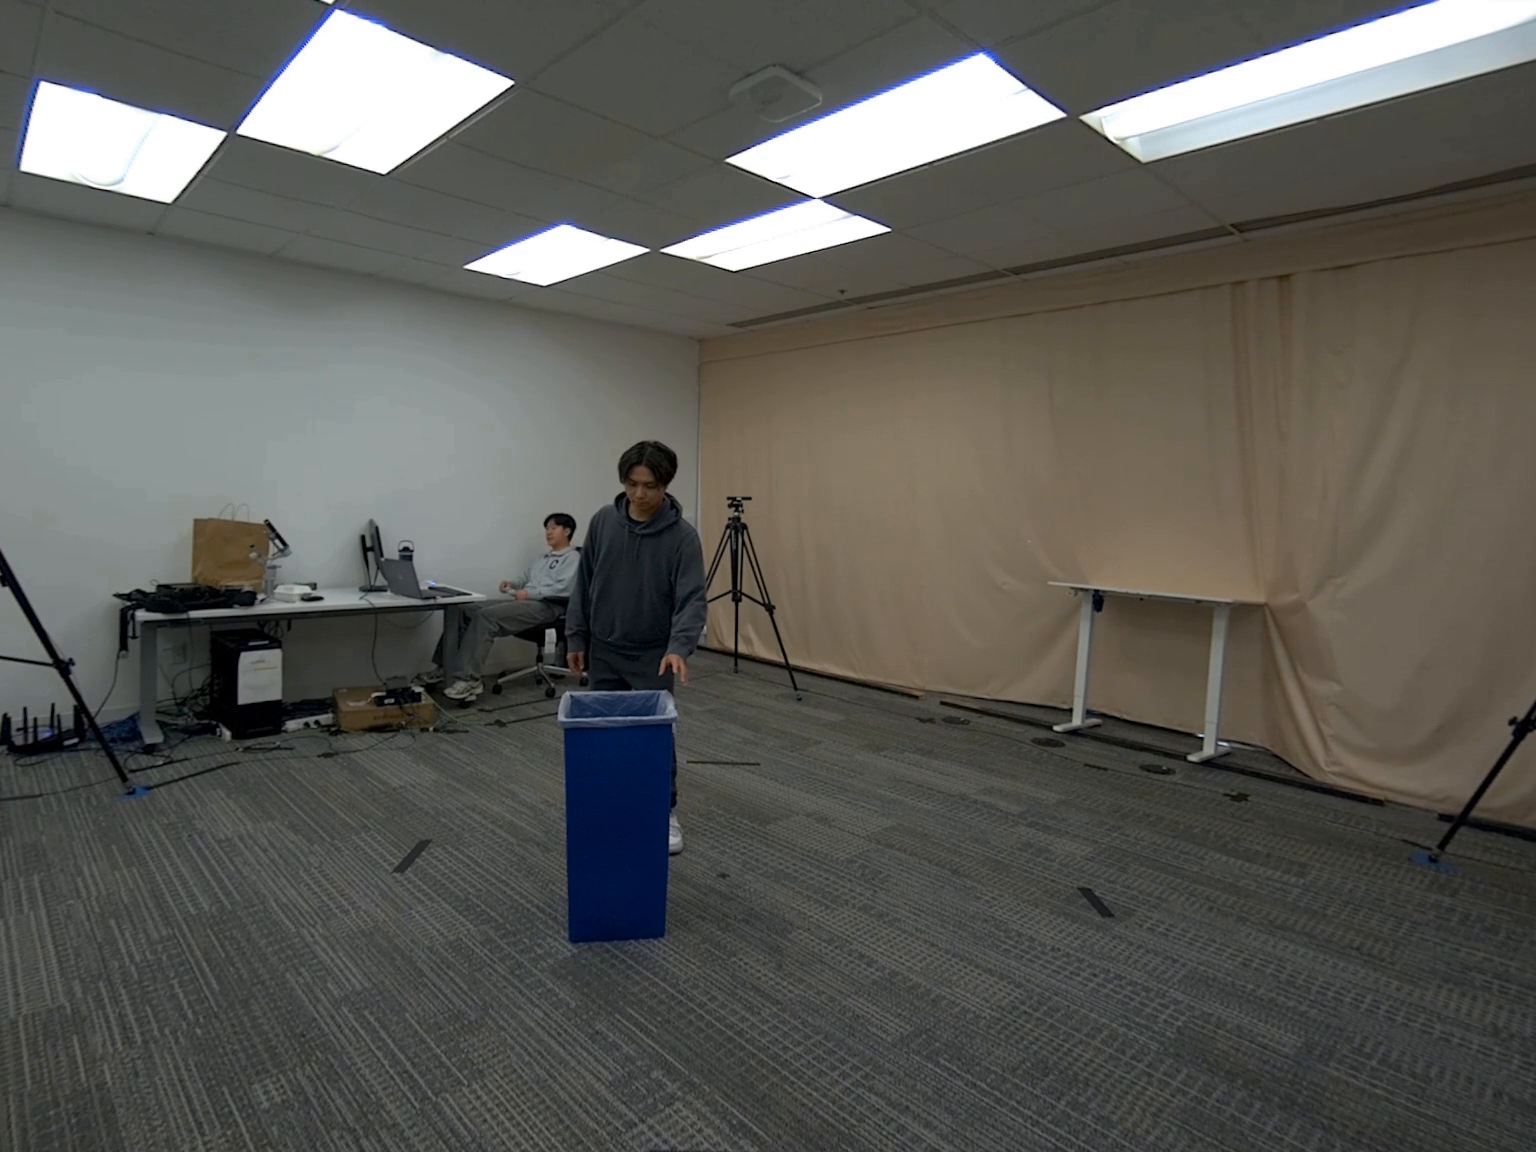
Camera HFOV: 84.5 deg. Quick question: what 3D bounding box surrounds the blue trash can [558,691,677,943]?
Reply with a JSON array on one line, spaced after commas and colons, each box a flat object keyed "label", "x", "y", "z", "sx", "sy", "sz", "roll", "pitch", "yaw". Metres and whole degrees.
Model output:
[{"label": "blue trash can", "x": -0.507, "y": 0.774, "z": 2.755, "sx": 0.371, "sy": 0.712, "sz": 0.382, "roll": 1, "pitch": 3, "yaw": -10}]
